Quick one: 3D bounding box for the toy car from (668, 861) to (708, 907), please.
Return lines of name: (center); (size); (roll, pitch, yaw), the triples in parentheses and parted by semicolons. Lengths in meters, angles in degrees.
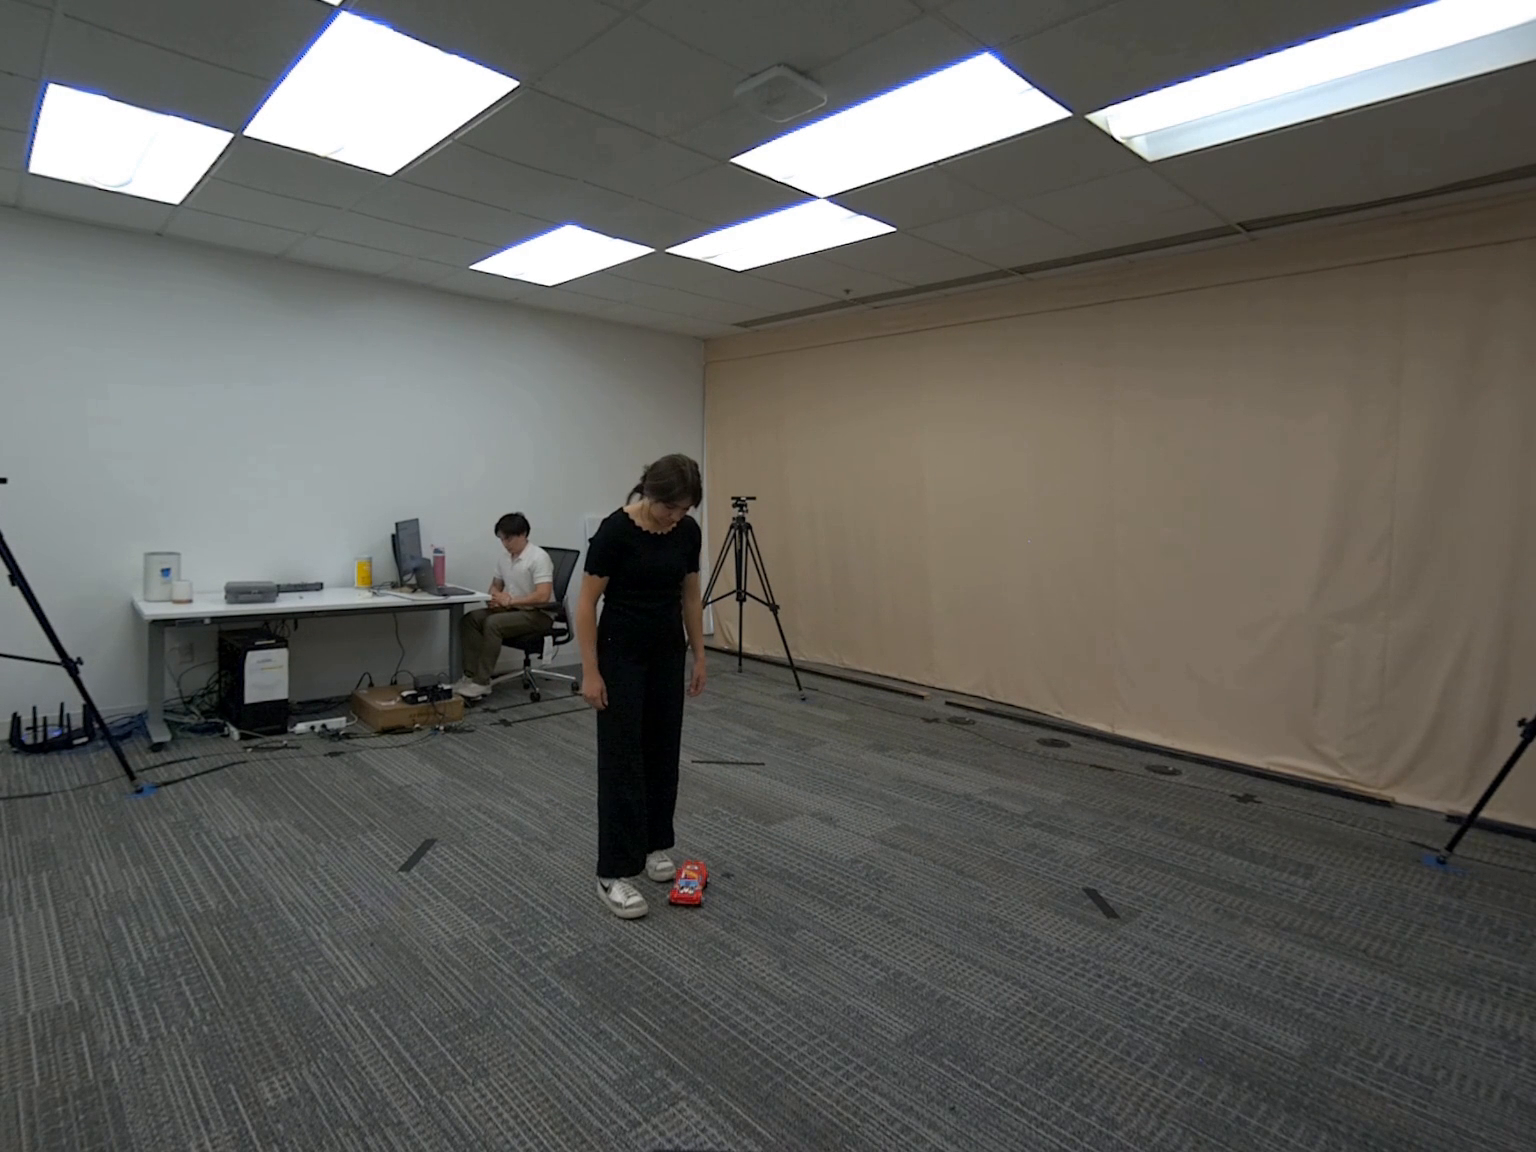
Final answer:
toy car: (-0.279, 1.089, 2.959); (0.131, 0.082, 0.256); (2, 17, 3)
